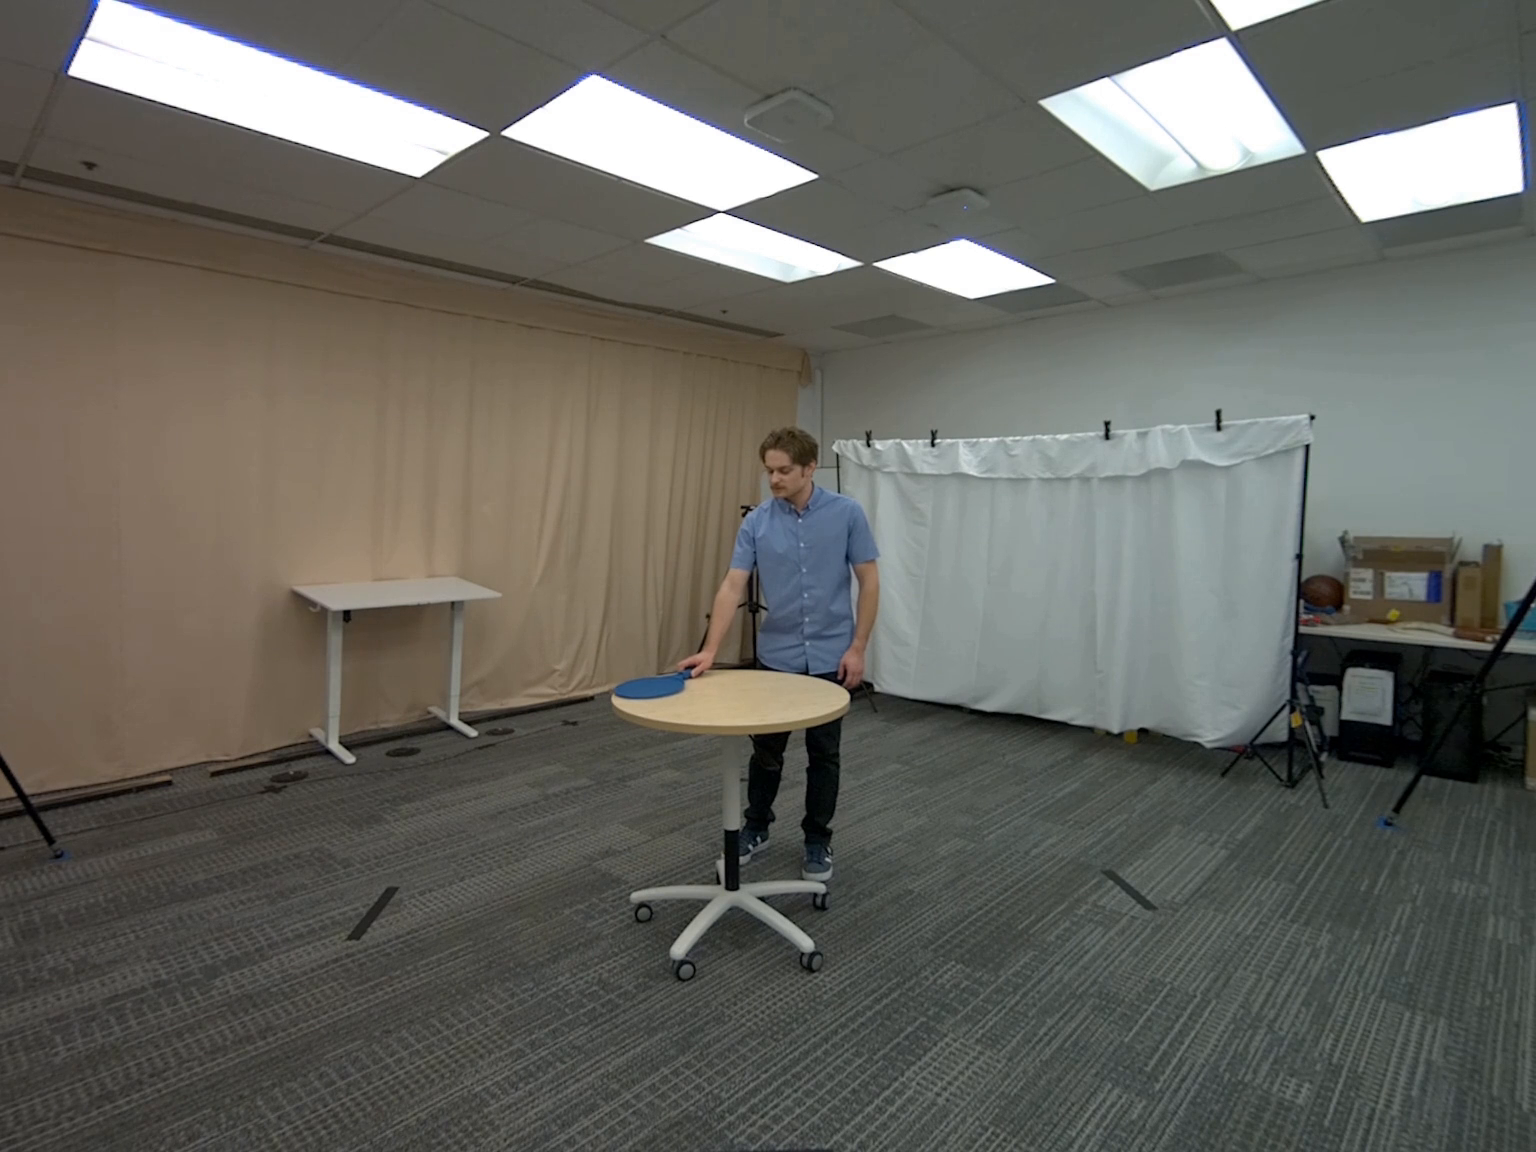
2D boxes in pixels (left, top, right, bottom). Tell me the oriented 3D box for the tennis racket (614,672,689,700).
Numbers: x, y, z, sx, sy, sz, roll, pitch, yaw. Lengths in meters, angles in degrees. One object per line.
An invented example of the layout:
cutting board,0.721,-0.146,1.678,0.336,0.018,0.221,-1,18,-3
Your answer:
tennis racket,-0.354,0.363,2.846,0.220,0.031,0.422,5,10,30
